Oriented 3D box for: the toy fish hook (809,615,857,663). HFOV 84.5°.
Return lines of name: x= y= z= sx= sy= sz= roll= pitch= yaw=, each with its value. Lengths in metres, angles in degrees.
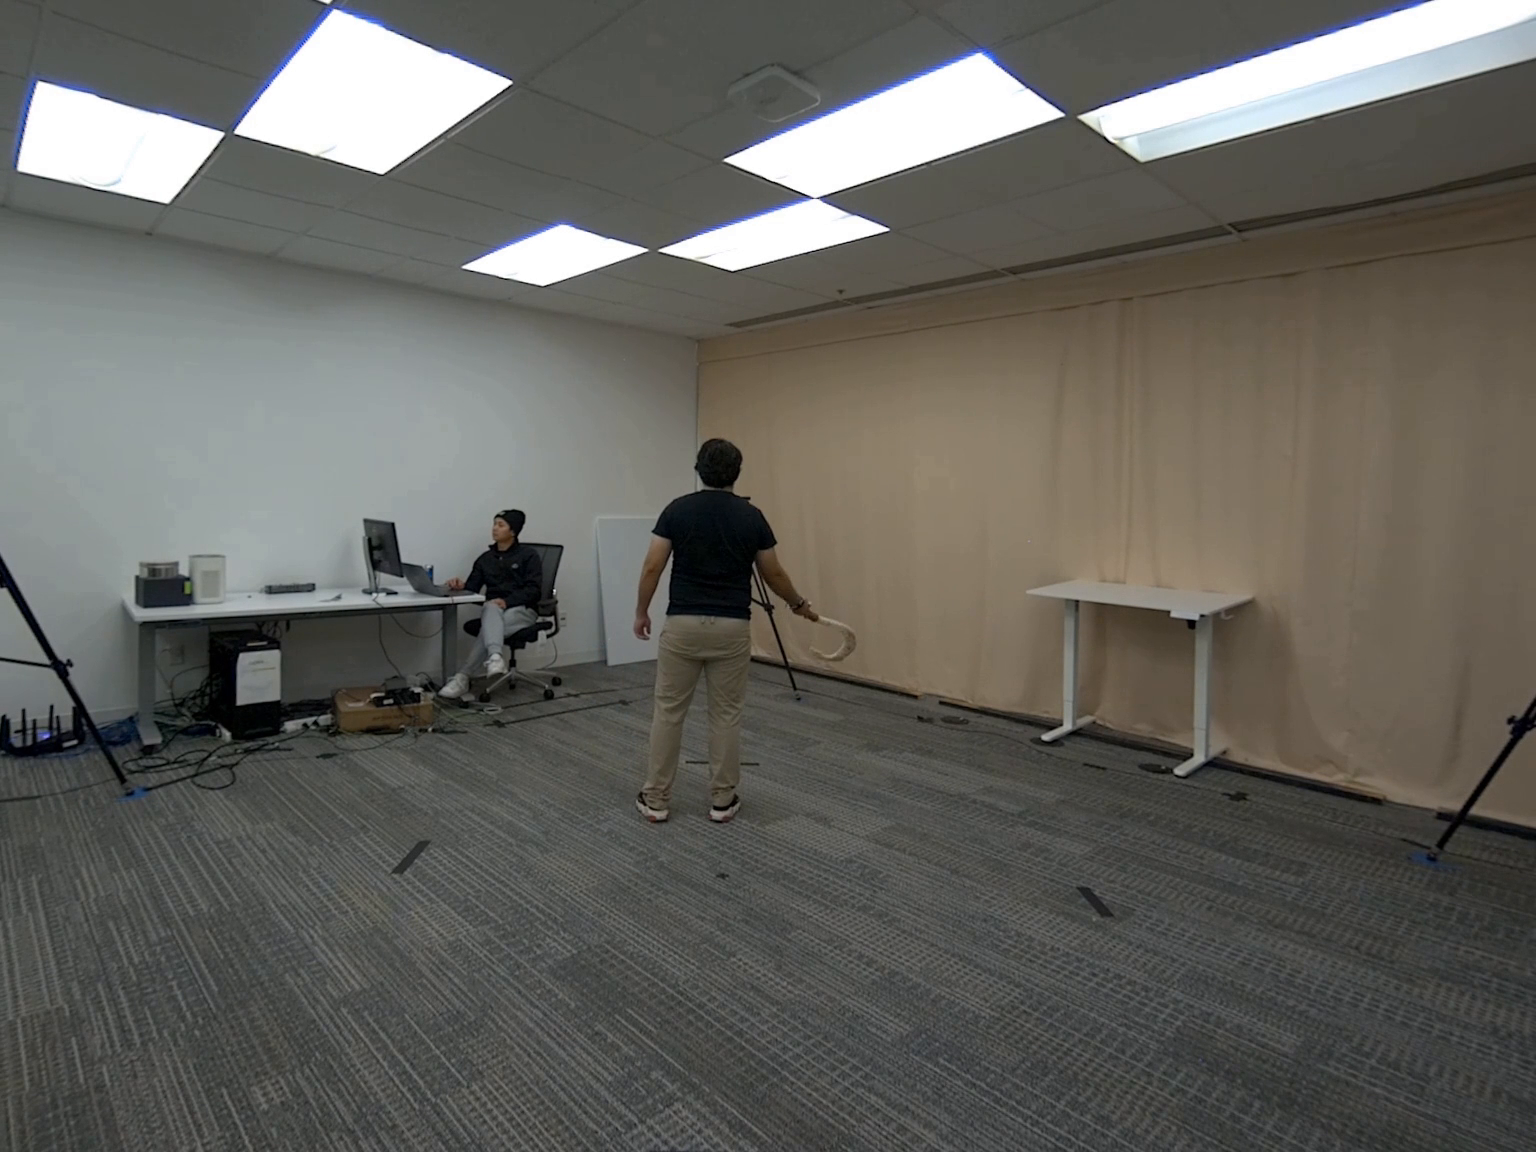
toy fish hook: x=0.228 y=0.258 z=4.115 sx=0.493 sy=0.224 sz=0.049 roll=36 pitch=6 yaw=-29
